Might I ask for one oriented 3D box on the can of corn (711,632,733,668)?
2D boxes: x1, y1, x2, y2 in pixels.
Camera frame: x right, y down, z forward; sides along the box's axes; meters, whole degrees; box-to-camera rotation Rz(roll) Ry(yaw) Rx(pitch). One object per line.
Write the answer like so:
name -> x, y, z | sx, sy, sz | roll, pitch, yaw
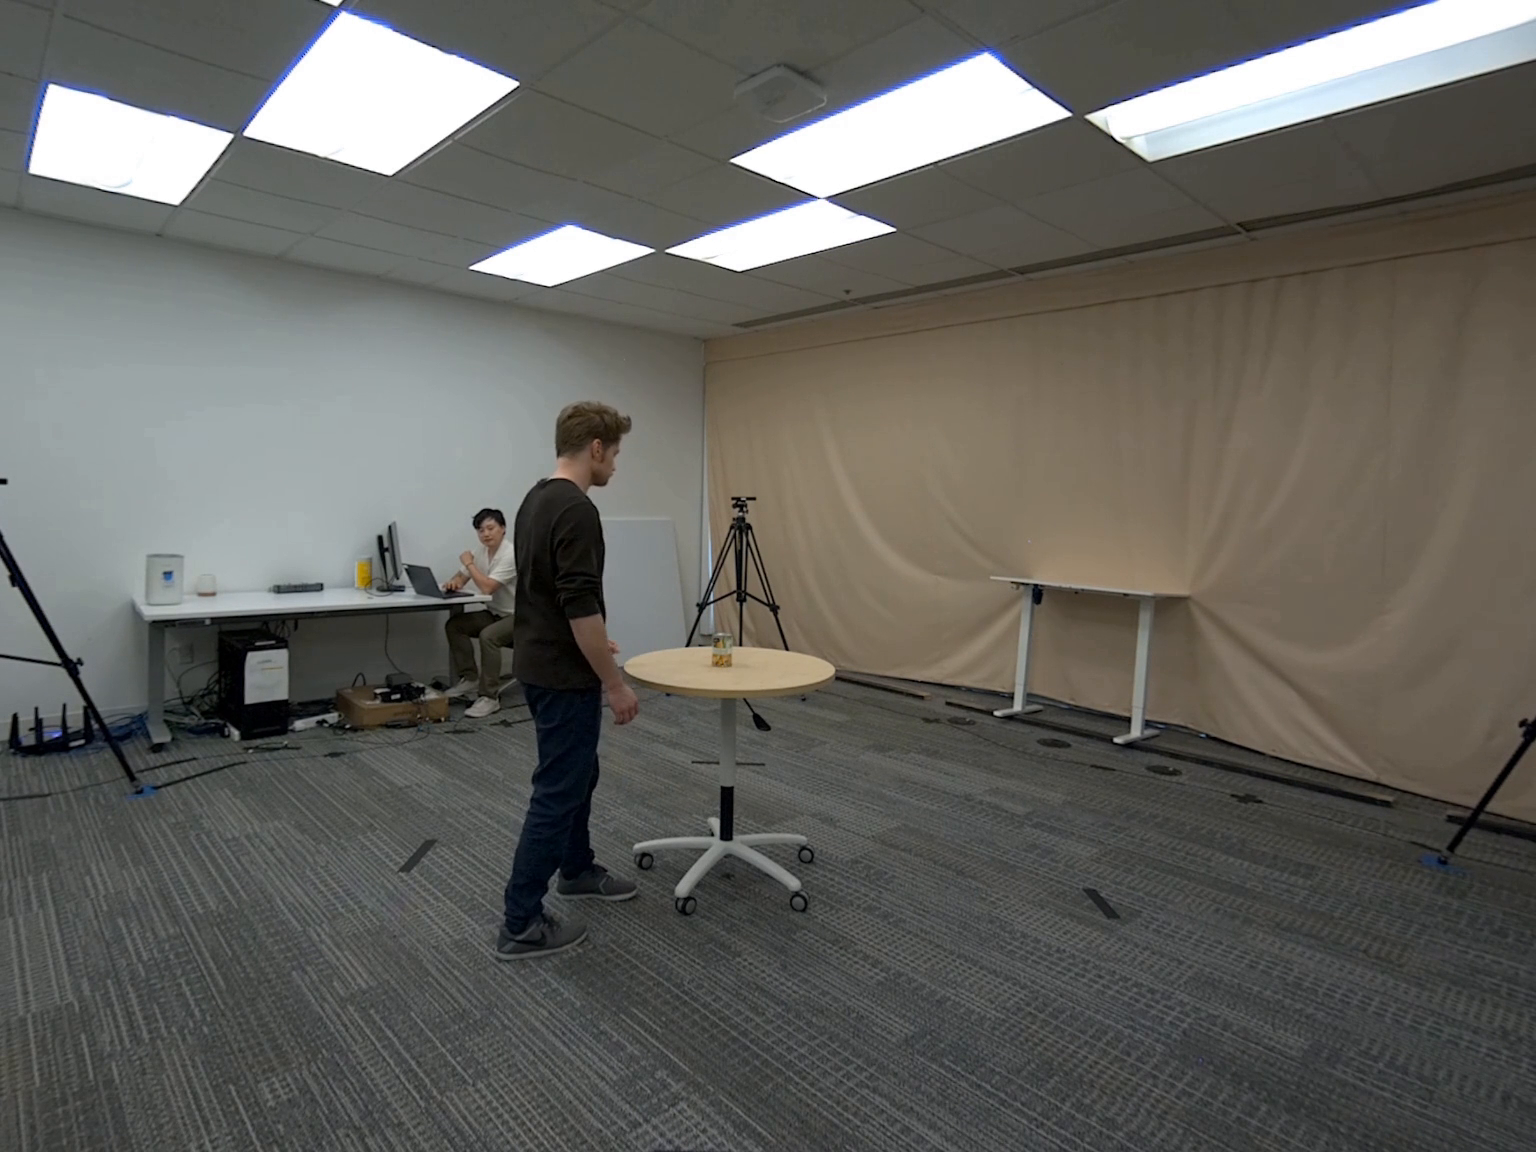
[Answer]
can of corn -> -0.174, 0.270, 3.058 | 0.074, 0.111, 0.074 | 0, 3, -1
